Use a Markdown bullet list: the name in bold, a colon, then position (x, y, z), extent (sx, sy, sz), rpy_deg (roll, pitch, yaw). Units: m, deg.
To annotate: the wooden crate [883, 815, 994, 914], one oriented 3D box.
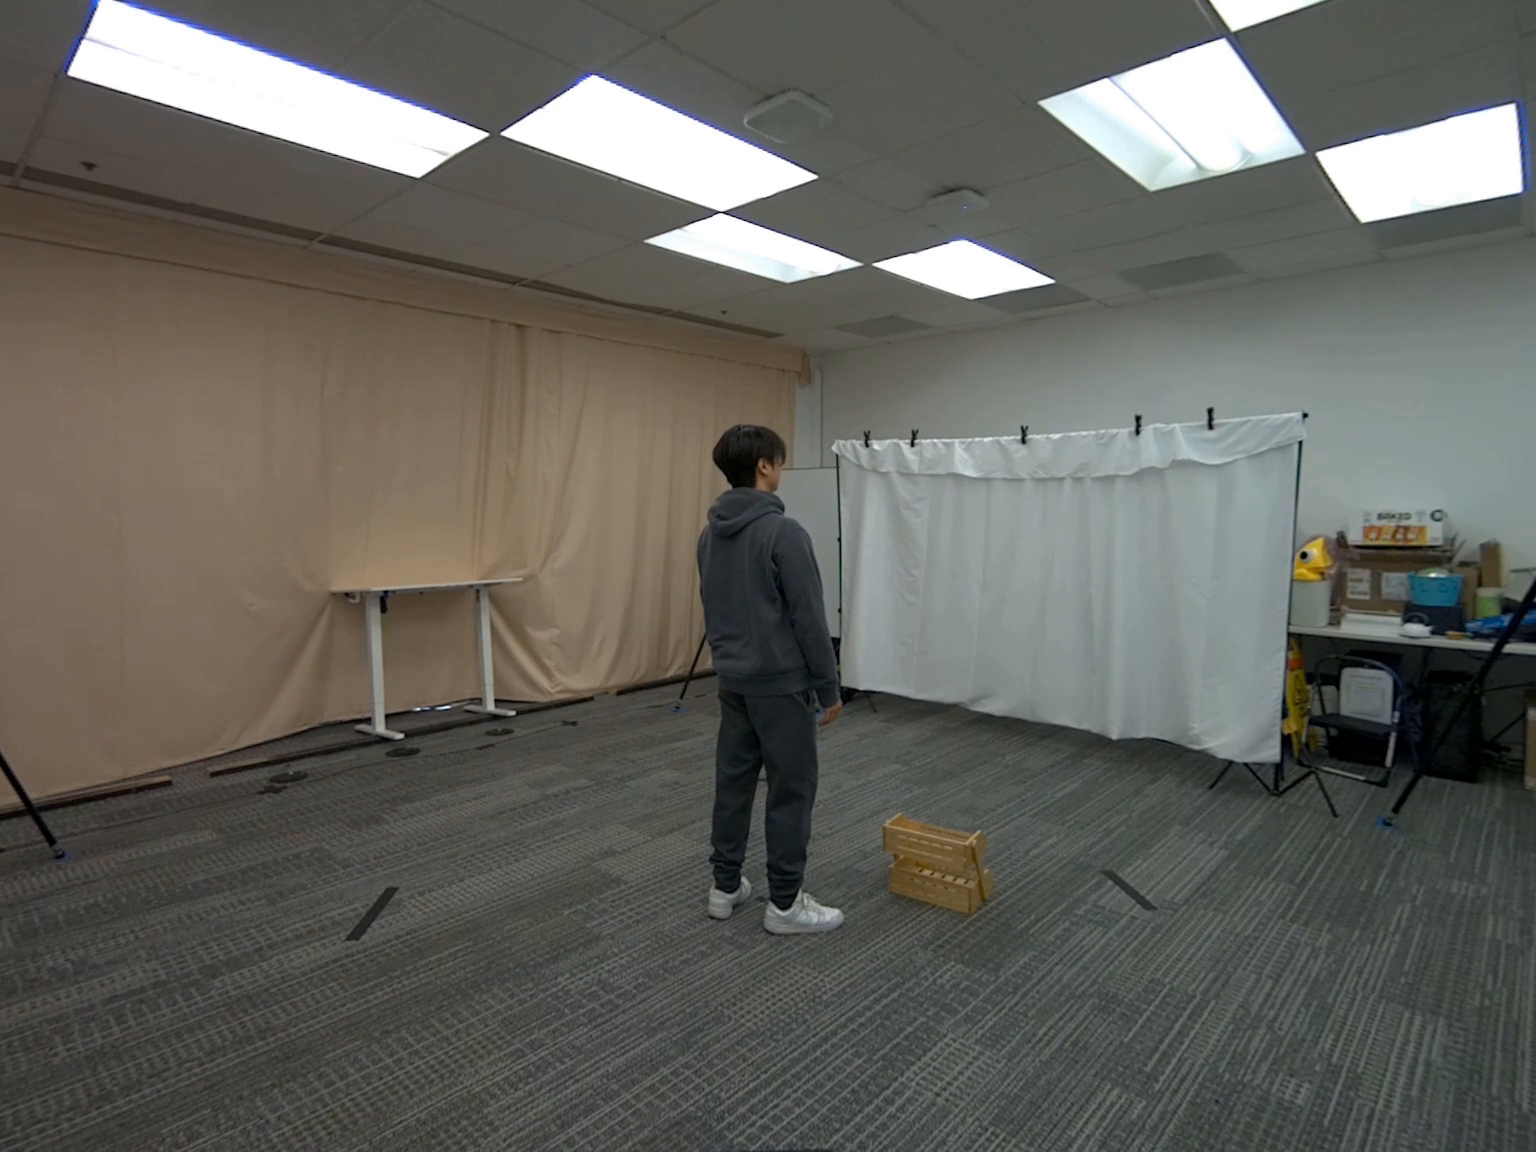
- **wooden crate**: position (0.623, 1.009, 3.022), extent (0.334, 0.272, 0.293), rpy_deg (2, 5, 34)
